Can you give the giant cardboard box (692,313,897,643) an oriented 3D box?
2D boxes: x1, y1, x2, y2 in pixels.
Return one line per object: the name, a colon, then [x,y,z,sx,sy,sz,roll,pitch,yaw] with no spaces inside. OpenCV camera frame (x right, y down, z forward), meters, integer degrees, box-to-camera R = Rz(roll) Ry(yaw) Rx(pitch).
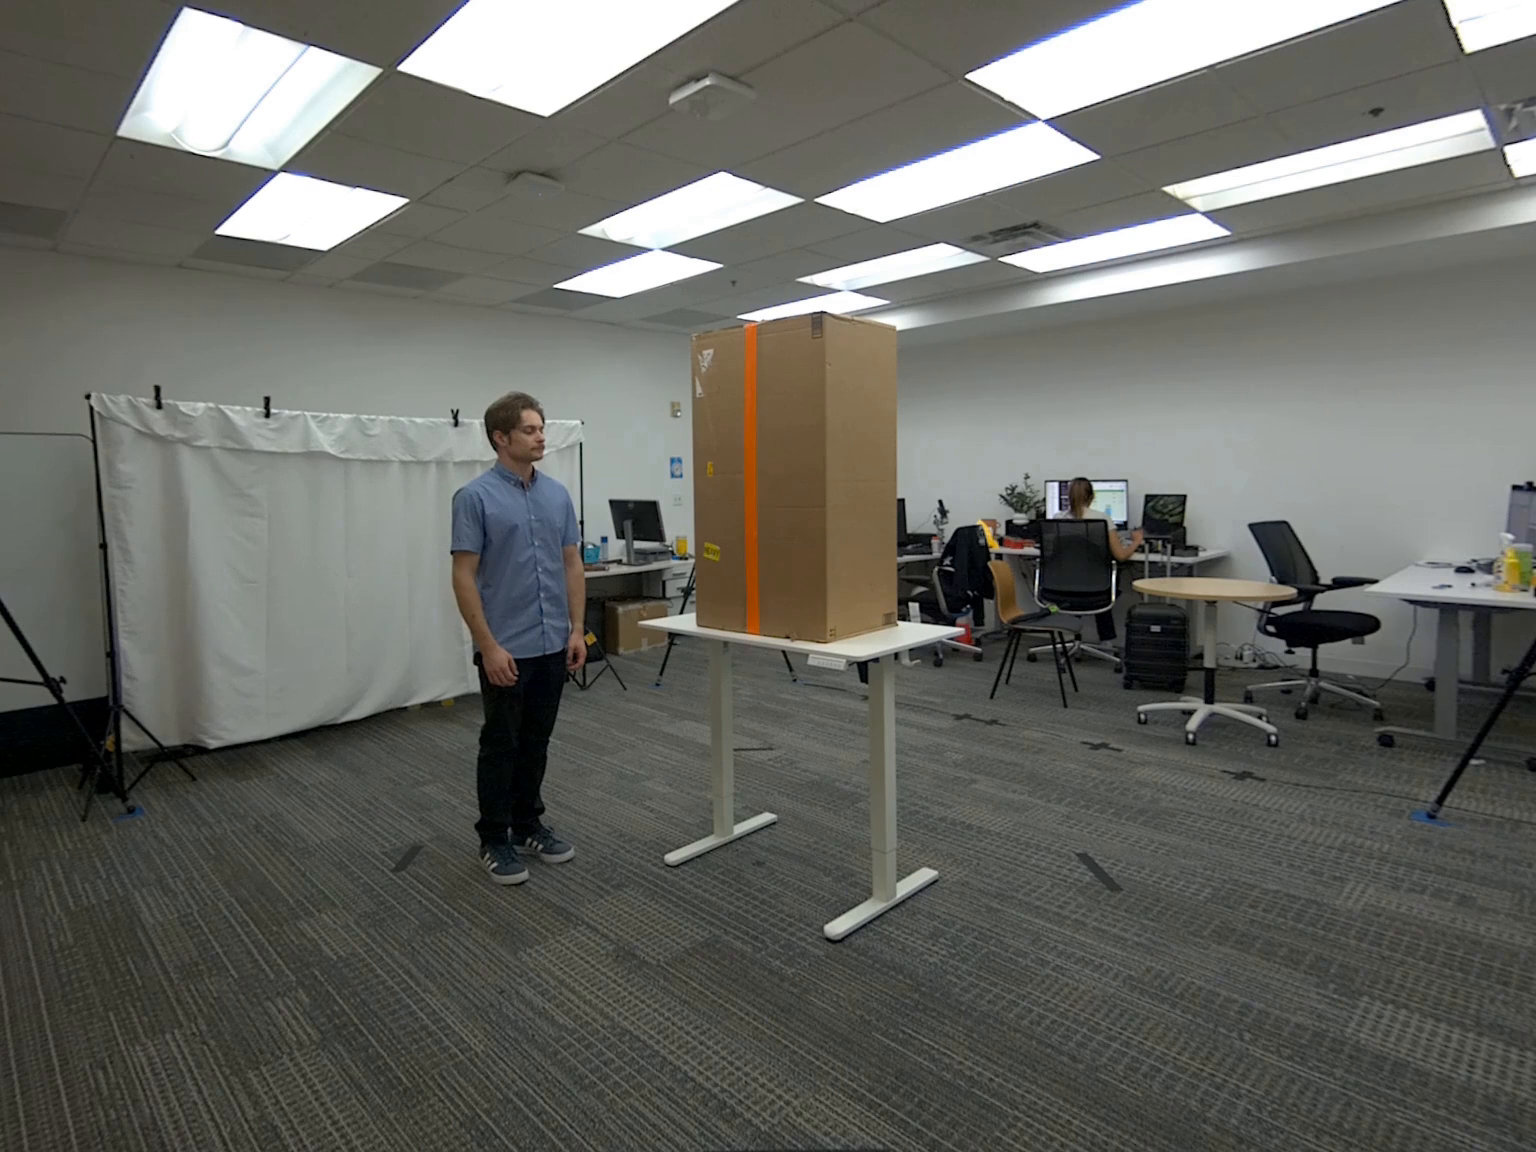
giant cardboard box: [0.088,-0.329,2.952,0.595,1.022,0.415,3,5,43]
